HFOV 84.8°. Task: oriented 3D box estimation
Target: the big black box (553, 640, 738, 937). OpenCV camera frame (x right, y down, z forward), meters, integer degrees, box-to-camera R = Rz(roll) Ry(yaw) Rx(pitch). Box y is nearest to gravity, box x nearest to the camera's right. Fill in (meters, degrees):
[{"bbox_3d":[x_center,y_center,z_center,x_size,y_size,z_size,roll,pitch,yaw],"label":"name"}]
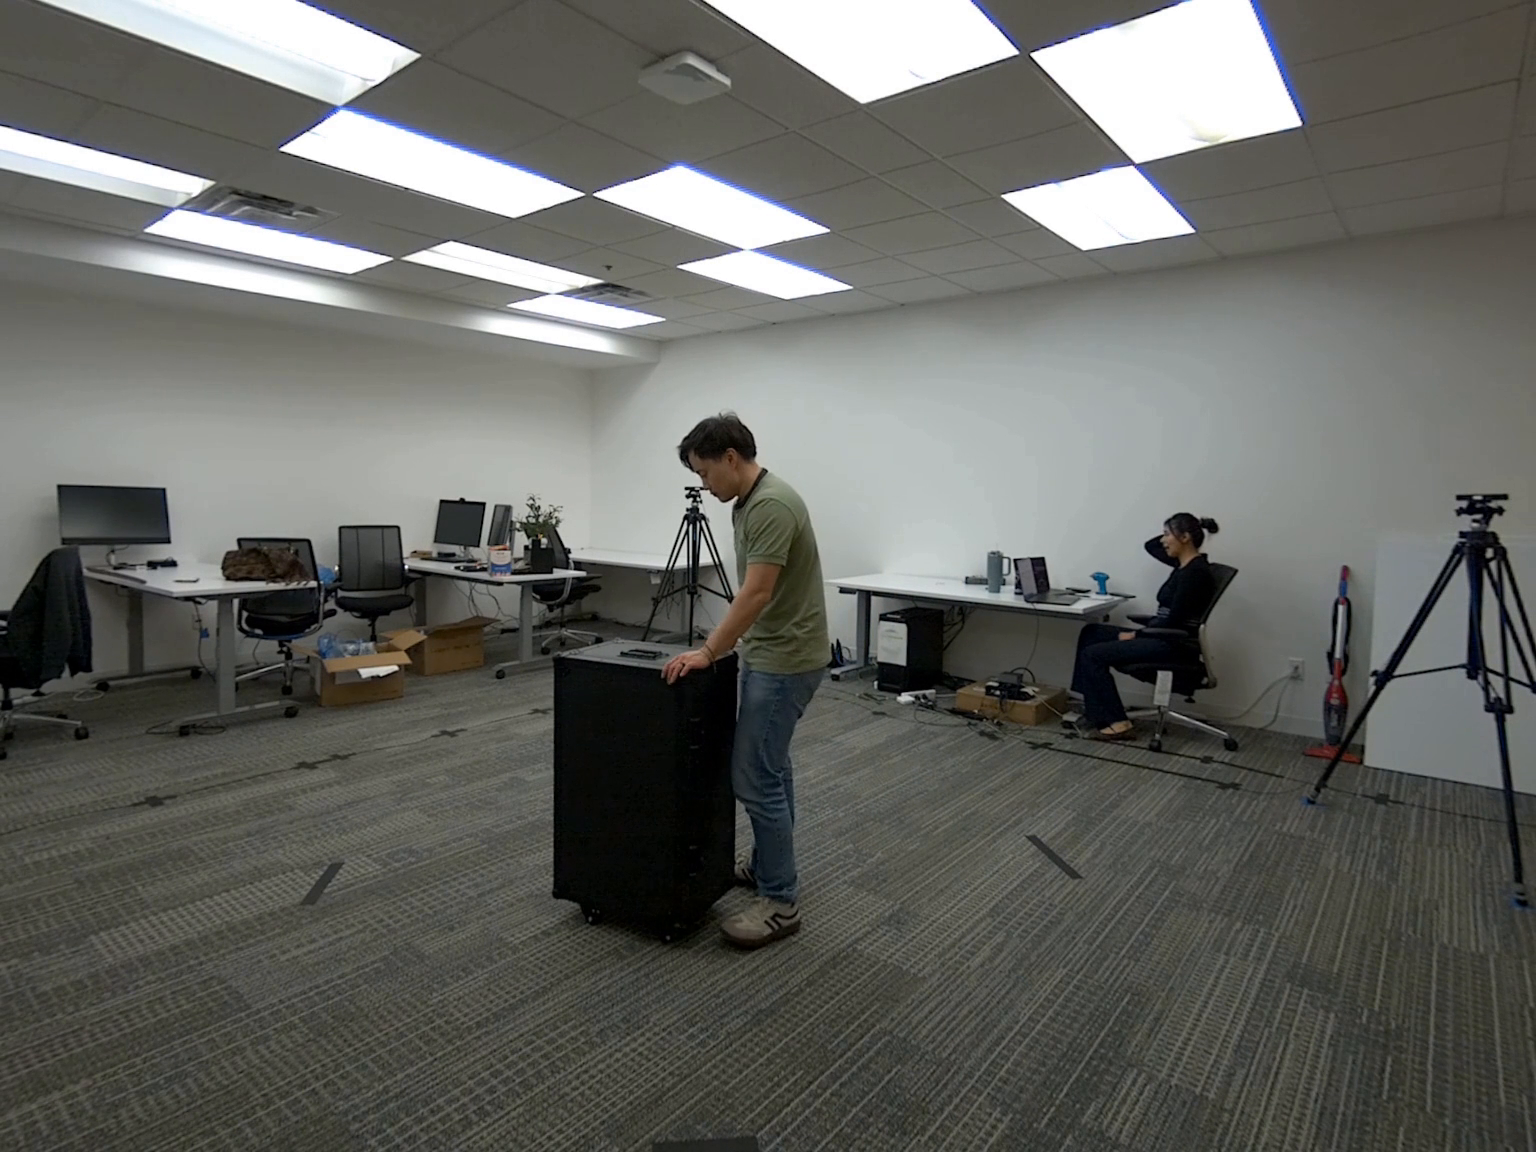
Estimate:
[{"bbox_3d":[-0.408,0.667,2.760,0.535,0.860,0.386,2,3,27],"label":"big black box"}]
